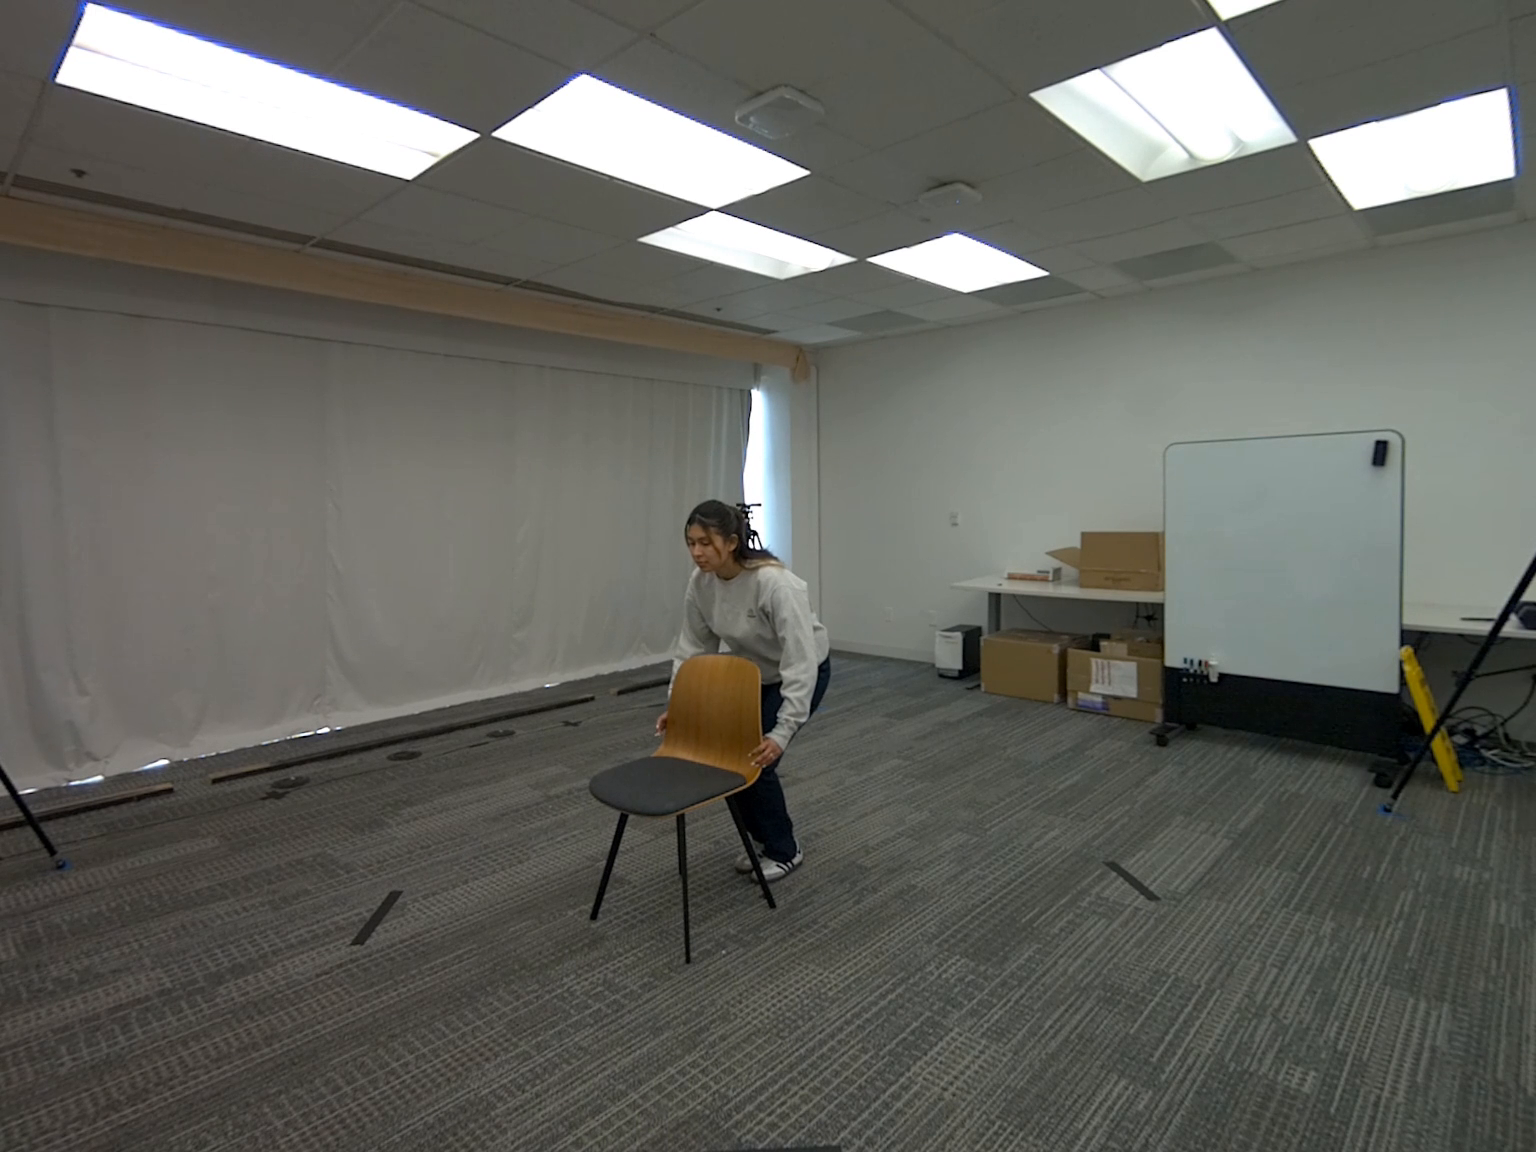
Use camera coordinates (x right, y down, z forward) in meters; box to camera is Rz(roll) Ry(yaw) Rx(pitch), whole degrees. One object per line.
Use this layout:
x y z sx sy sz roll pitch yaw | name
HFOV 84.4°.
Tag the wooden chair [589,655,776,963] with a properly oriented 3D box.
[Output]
-0.292 0.726 2.835 0.493 0.877 0.506 2 0 38 | wooden chair
